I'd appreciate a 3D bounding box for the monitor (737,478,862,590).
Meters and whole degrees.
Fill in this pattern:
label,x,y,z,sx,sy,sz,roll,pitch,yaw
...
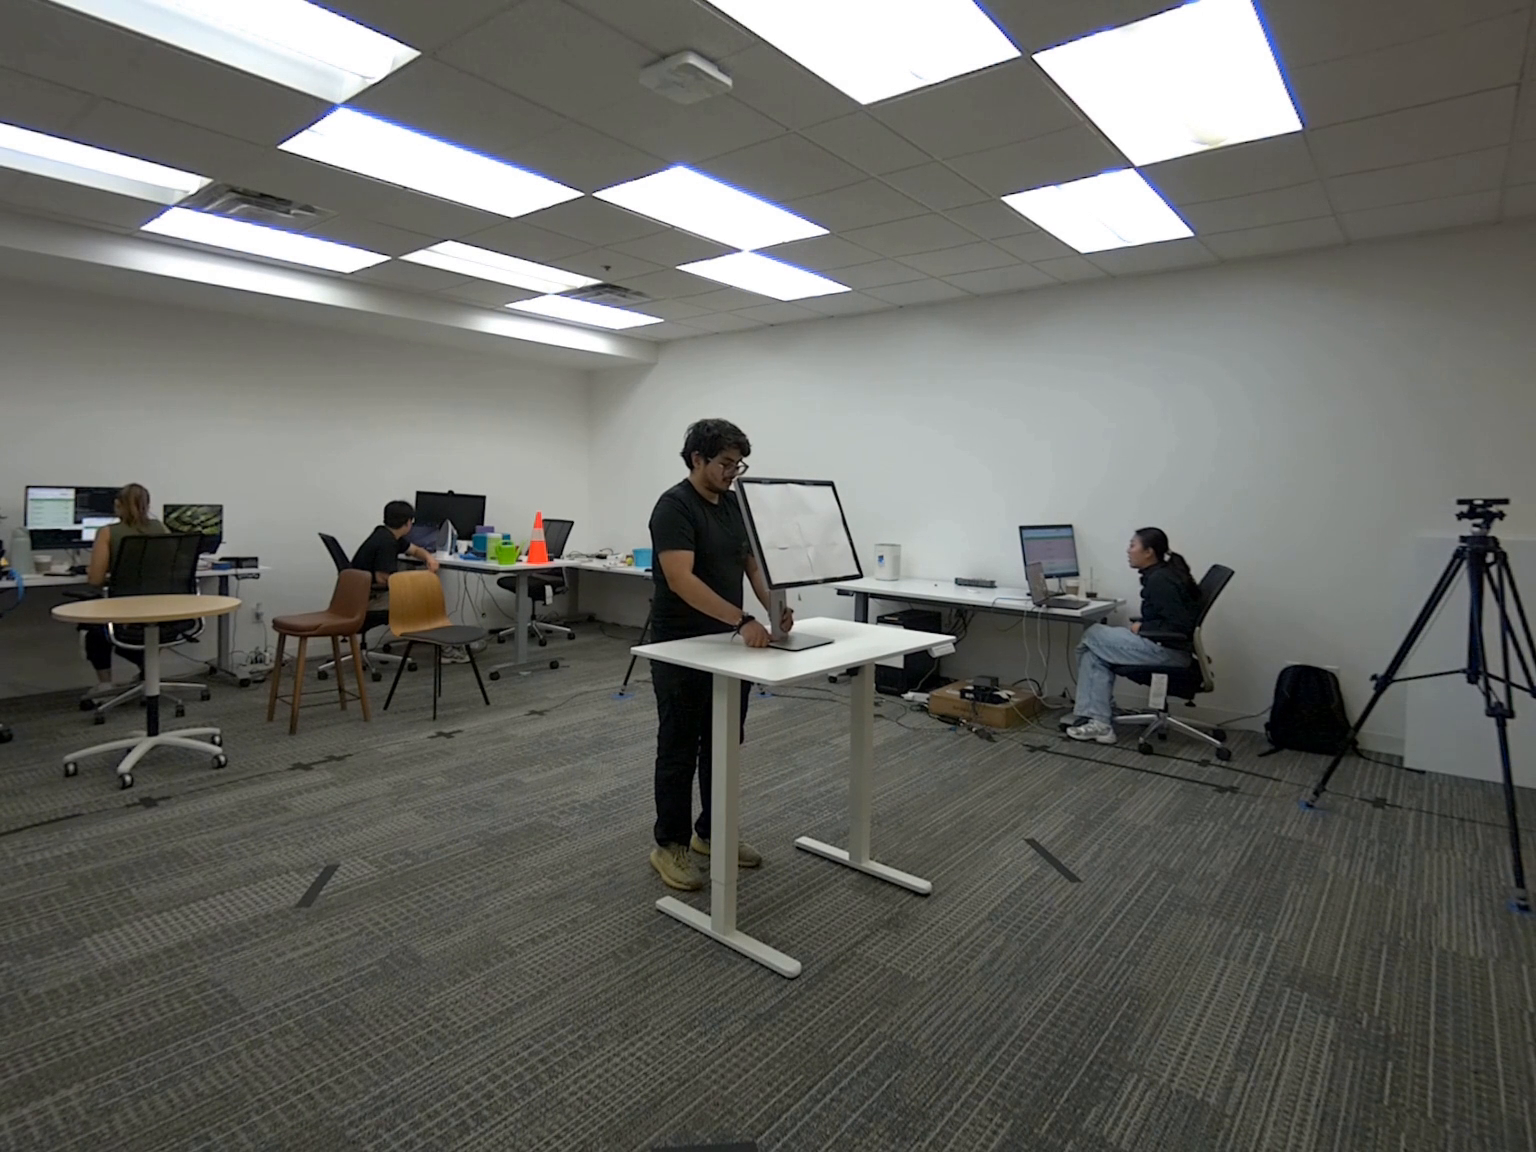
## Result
label,x,y,z,sx,sy,sz,roll,pitch,yaw
monitor,0.058,-0.048,2.829,0.215,0.557,0.549,-12,-5,36
